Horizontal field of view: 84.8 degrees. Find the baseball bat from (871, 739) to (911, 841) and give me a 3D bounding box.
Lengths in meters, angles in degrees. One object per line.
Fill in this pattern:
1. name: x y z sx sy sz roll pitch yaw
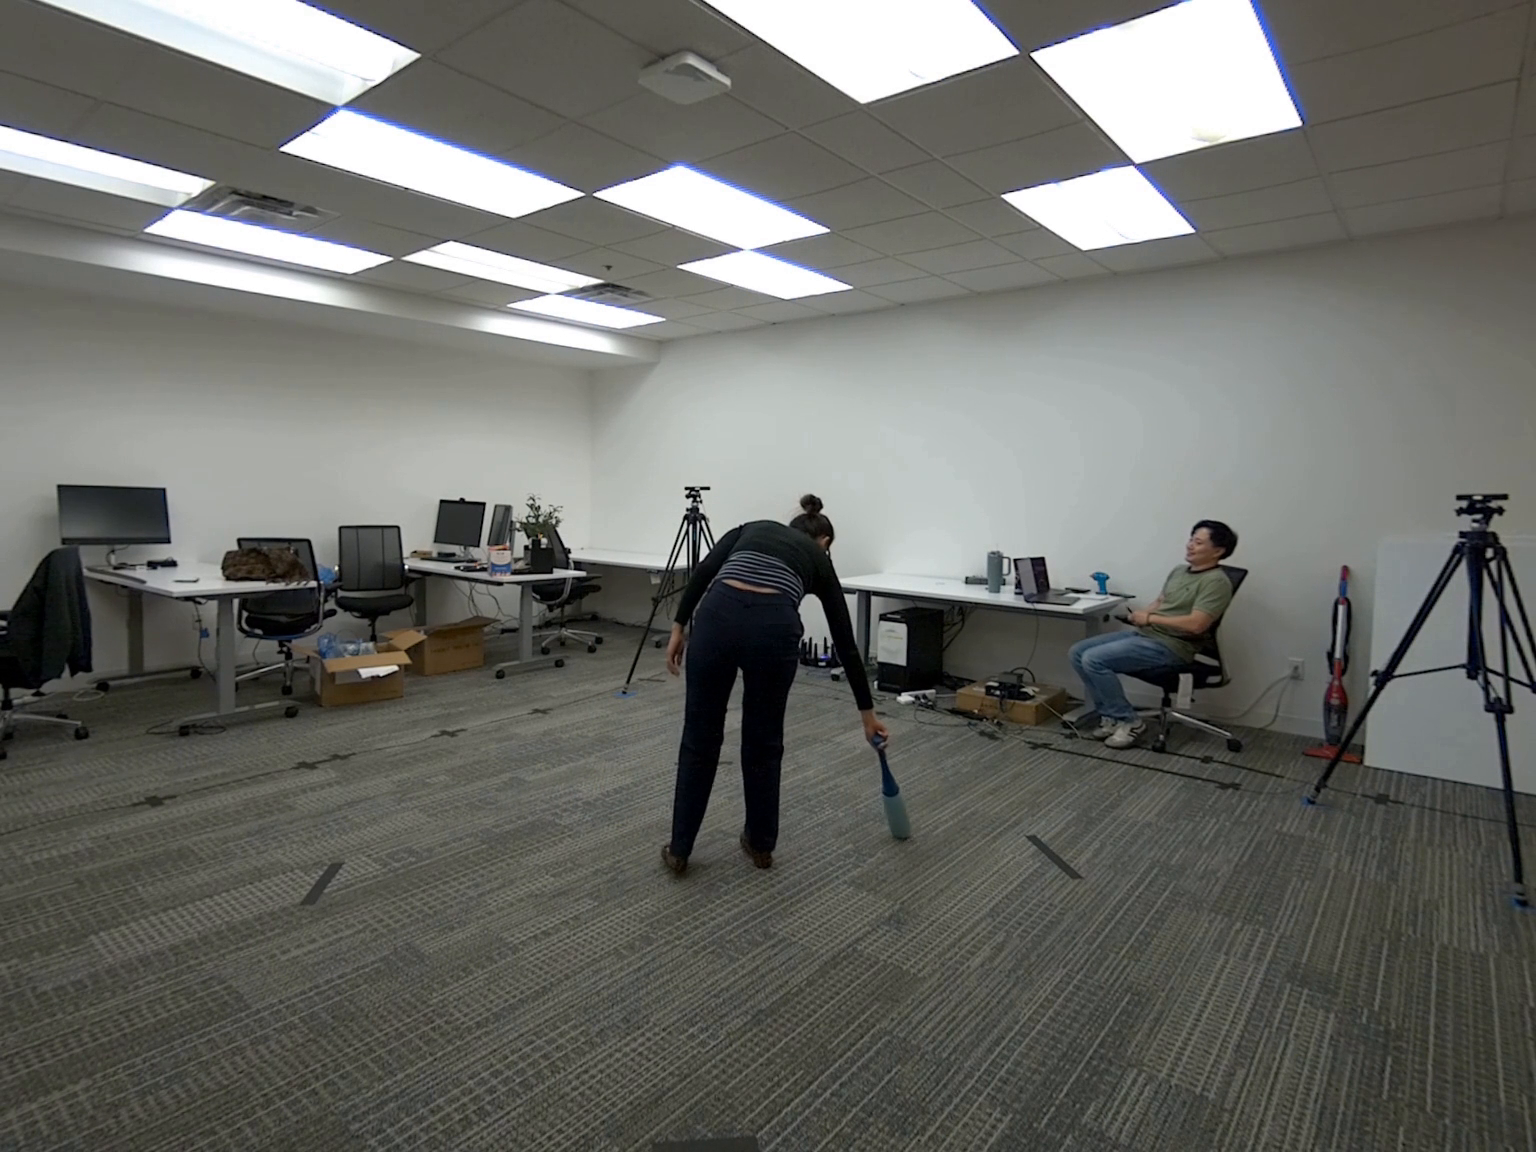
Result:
1. baseball bat: 0.462 0.820 3.304 0.089 0.526 0.091 -13 31 6
